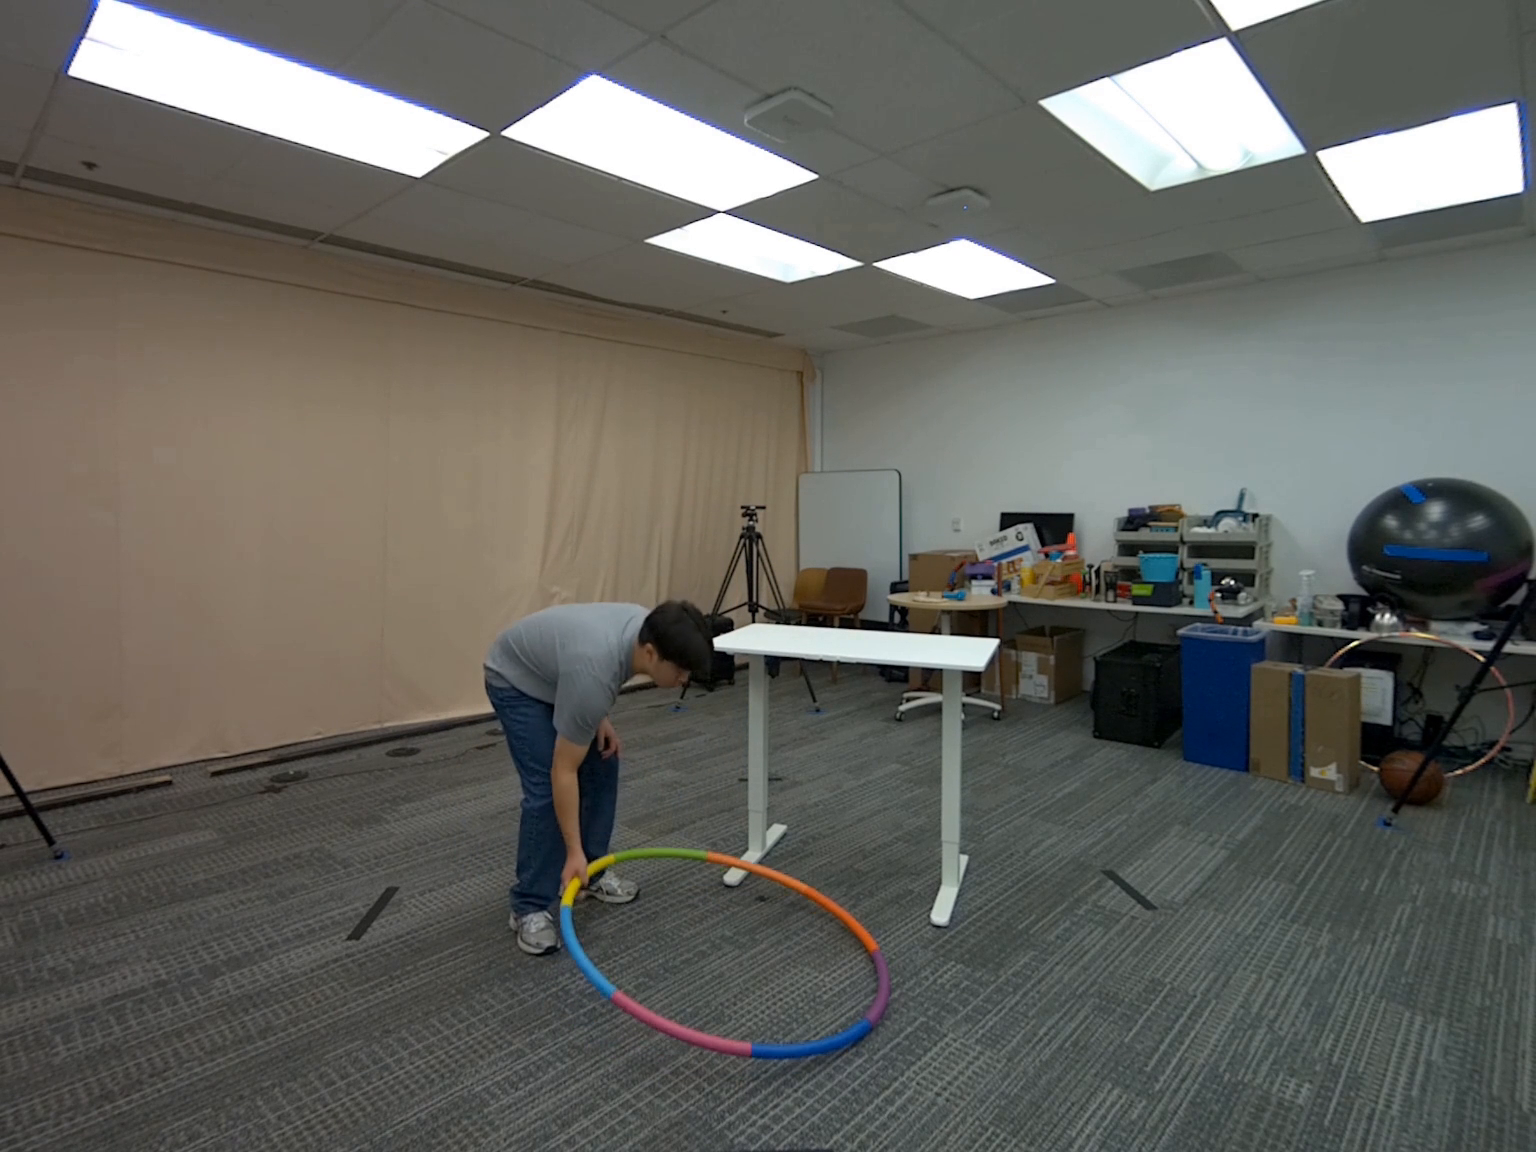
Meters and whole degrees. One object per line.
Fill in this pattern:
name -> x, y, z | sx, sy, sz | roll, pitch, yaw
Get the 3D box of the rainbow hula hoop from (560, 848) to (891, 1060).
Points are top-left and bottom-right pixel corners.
rainbow hula hoop -> -0.122, 1.047, 2.504 | 0.976, 0.035, 0.984 | 12, 7, -3
